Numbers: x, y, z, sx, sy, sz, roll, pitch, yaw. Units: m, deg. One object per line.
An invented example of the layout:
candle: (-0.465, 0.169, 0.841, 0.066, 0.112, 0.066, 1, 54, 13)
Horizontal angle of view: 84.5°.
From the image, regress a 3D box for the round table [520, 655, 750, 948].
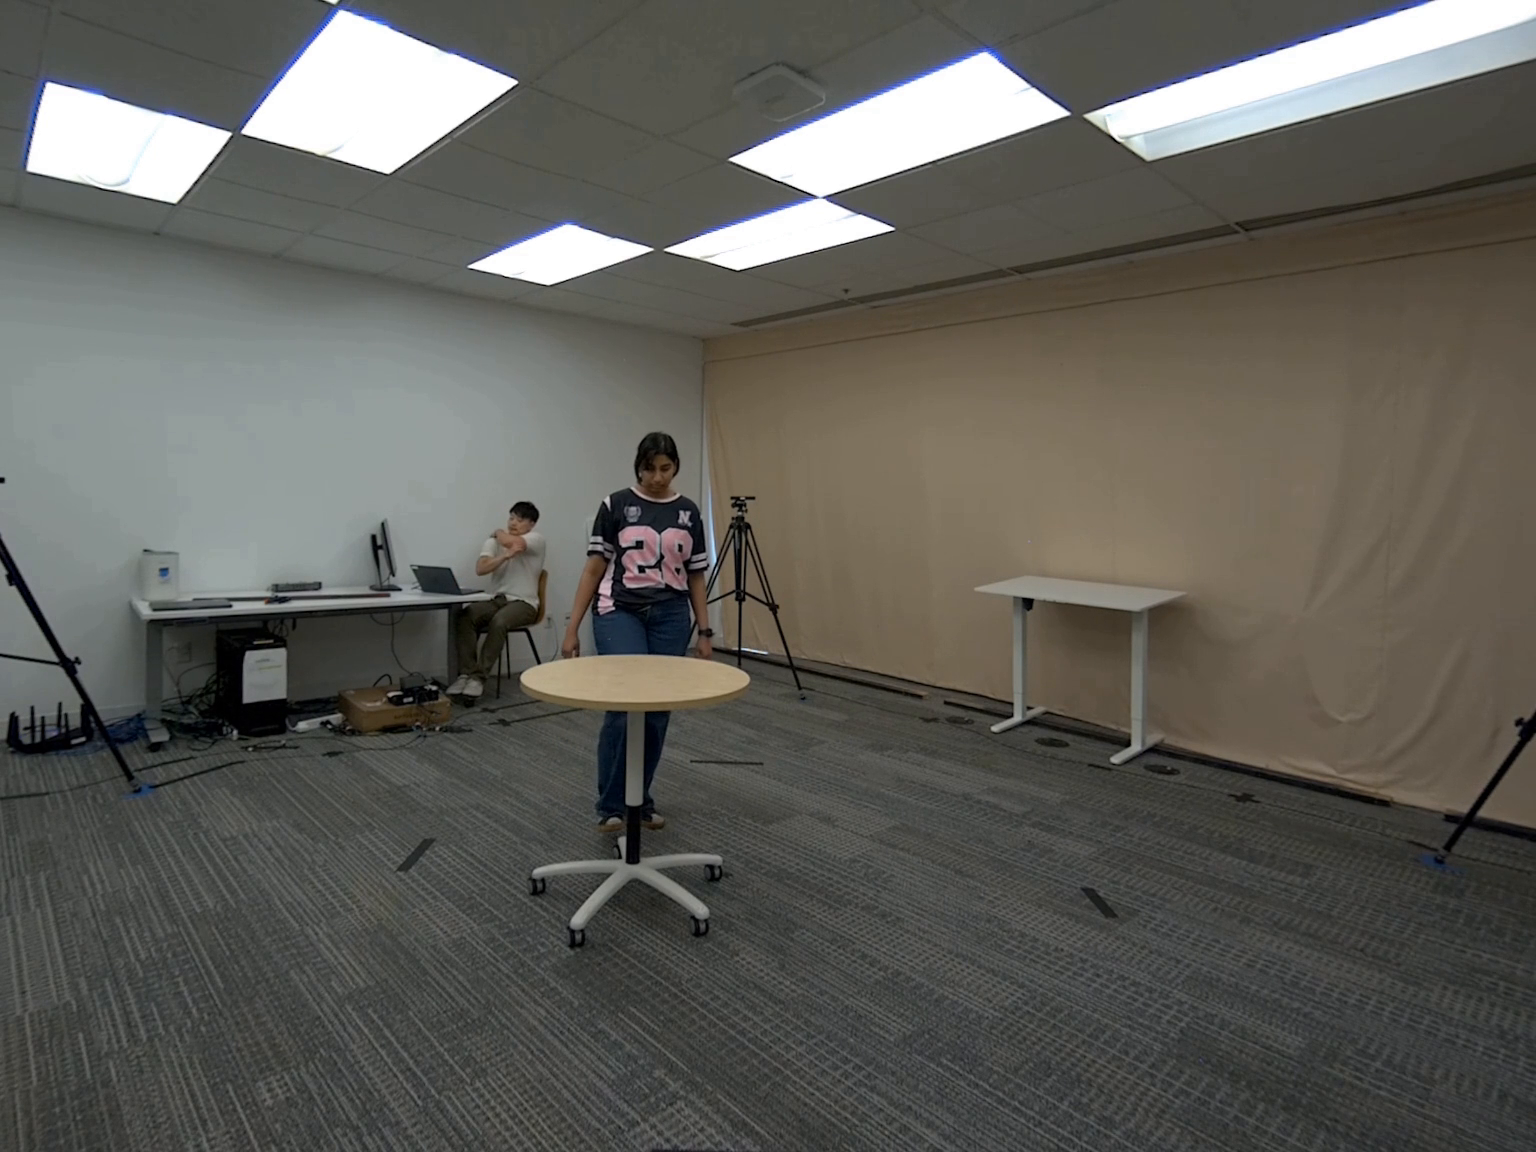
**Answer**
round table: (-0.467, 0.732, 2.861, 0.763, 0.792, 0.767, 2, 4, -1)
